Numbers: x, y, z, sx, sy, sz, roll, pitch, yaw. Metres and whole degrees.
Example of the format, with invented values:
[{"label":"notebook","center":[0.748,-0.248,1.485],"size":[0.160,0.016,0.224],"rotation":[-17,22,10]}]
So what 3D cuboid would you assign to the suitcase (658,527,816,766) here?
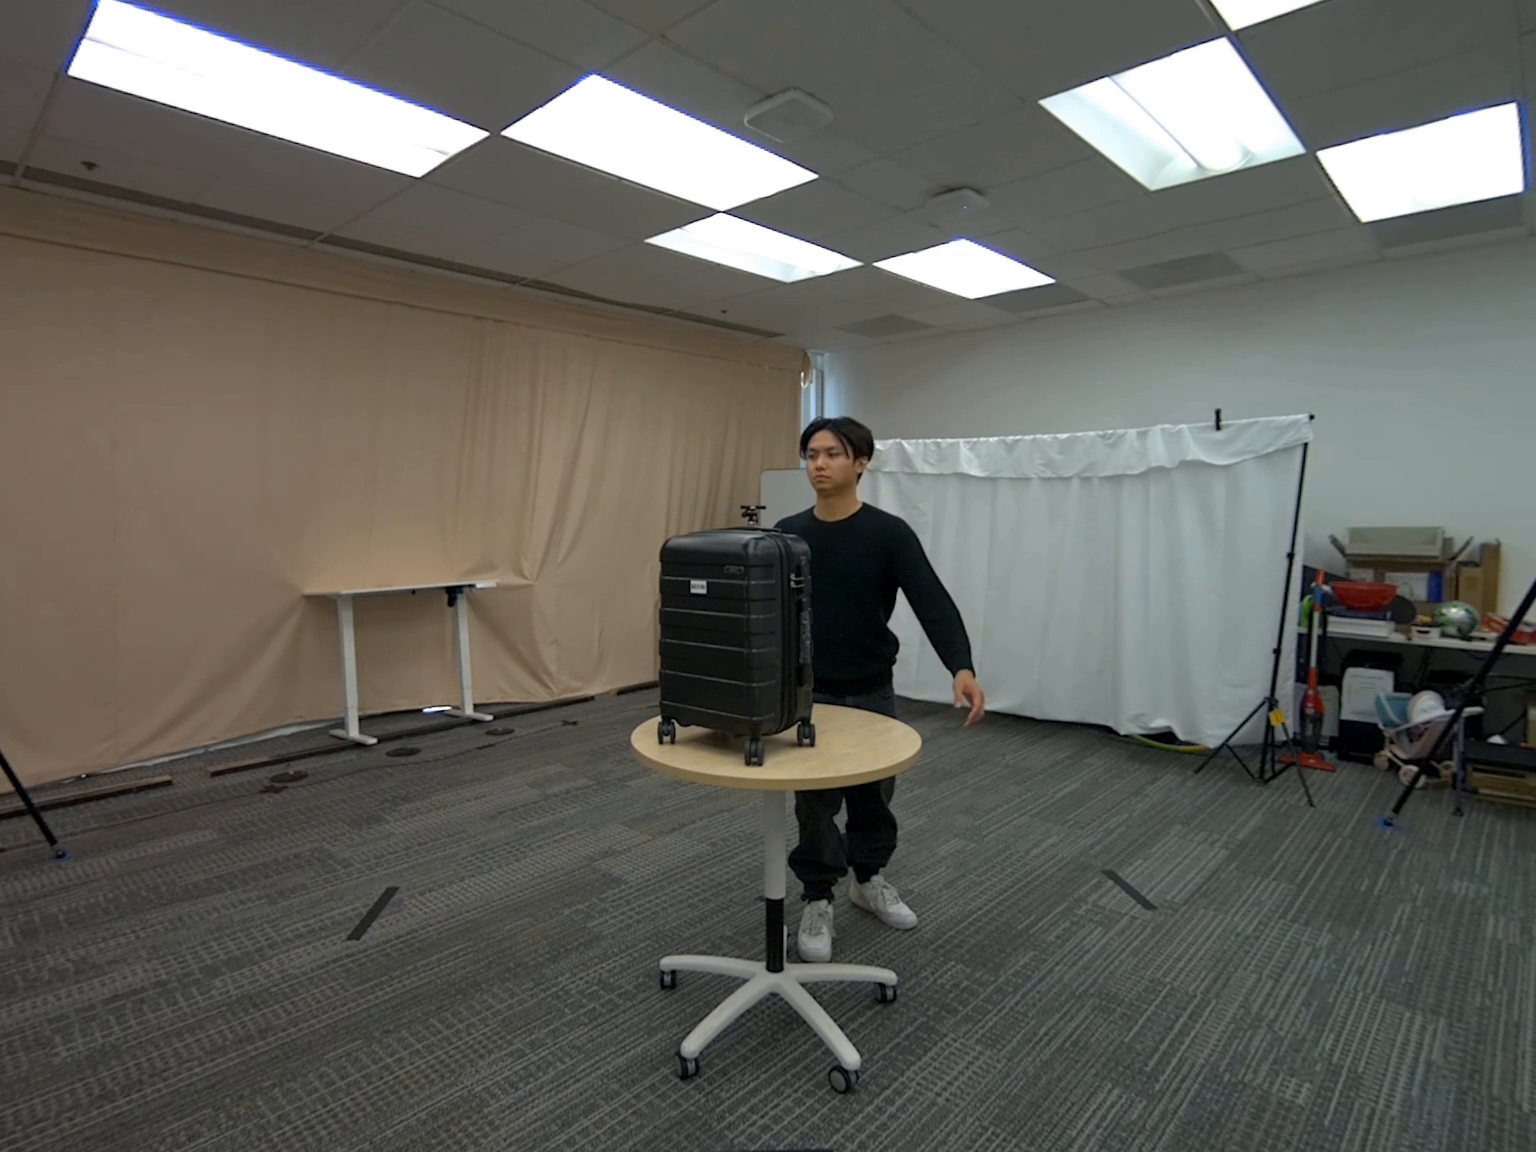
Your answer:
[{"label":"suitcase","center":[-0.082,0.153,2.152],"size":[0.388,0.548,0.241],"rotation":[3,4,41]}]
